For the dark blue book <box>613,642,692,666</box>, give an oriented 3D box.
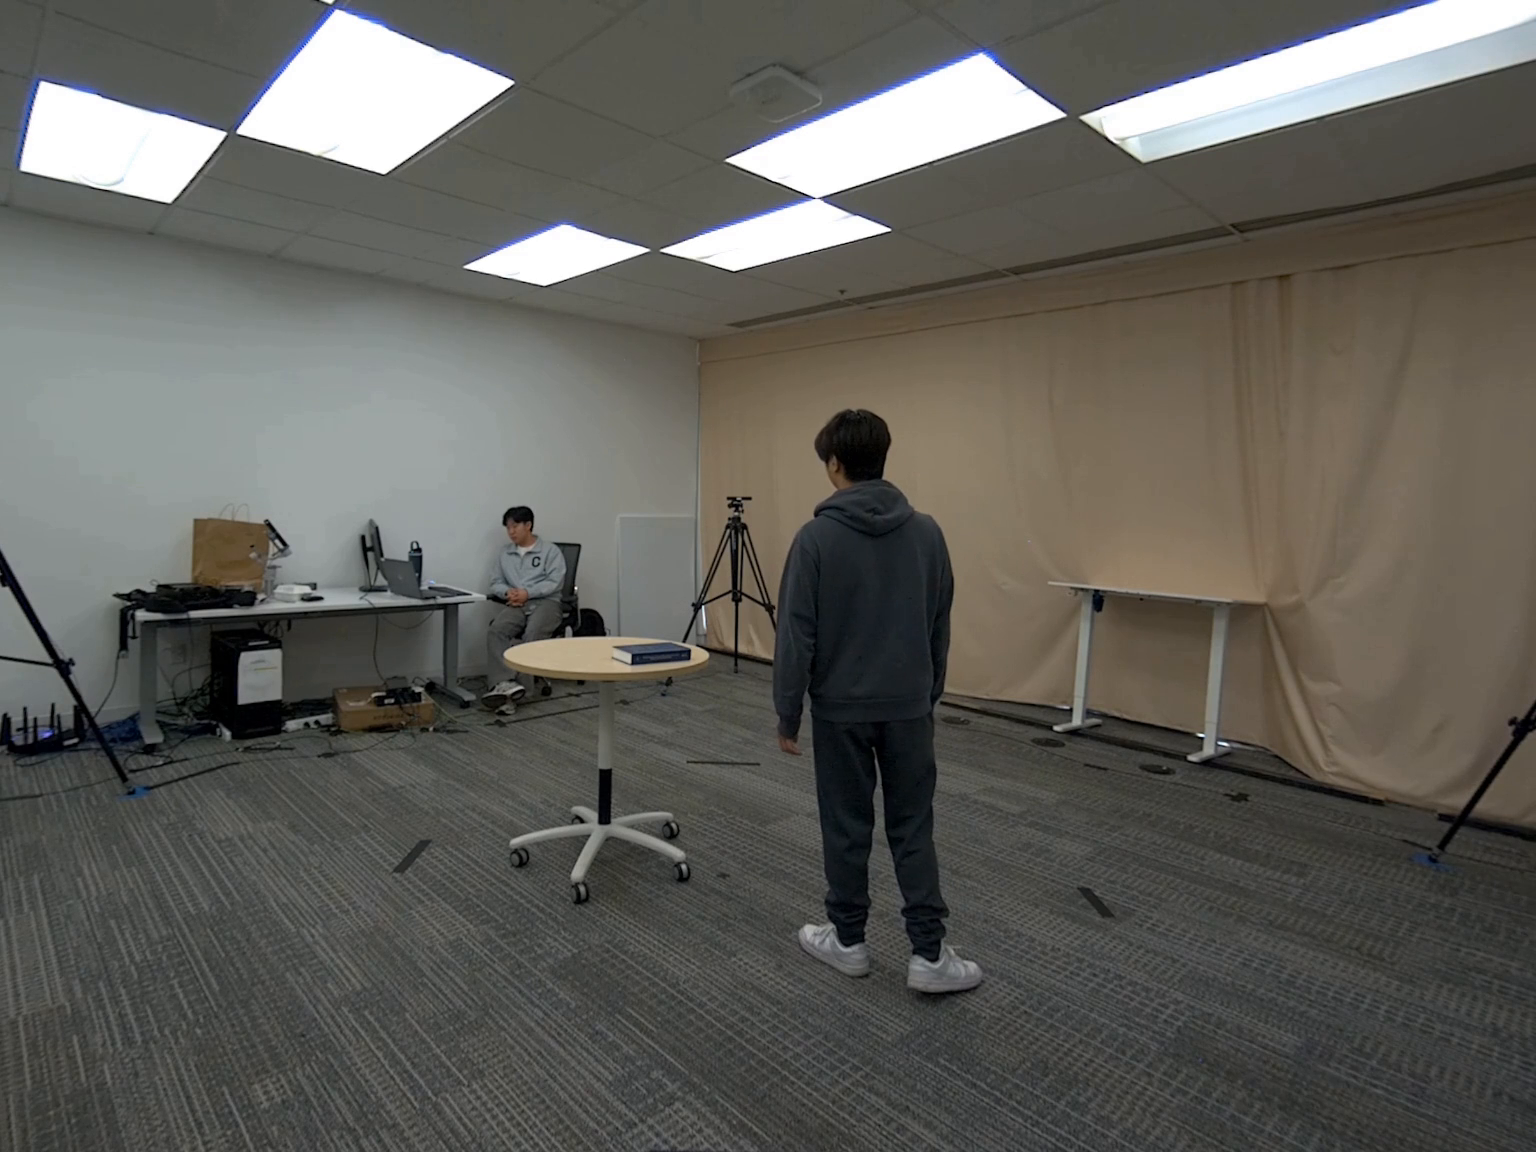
[{"bbox_3d":[-0.437,0.287,3.081,0.240,0.045,0.167,-2,6,-35],"label":"dark blue book"}]
